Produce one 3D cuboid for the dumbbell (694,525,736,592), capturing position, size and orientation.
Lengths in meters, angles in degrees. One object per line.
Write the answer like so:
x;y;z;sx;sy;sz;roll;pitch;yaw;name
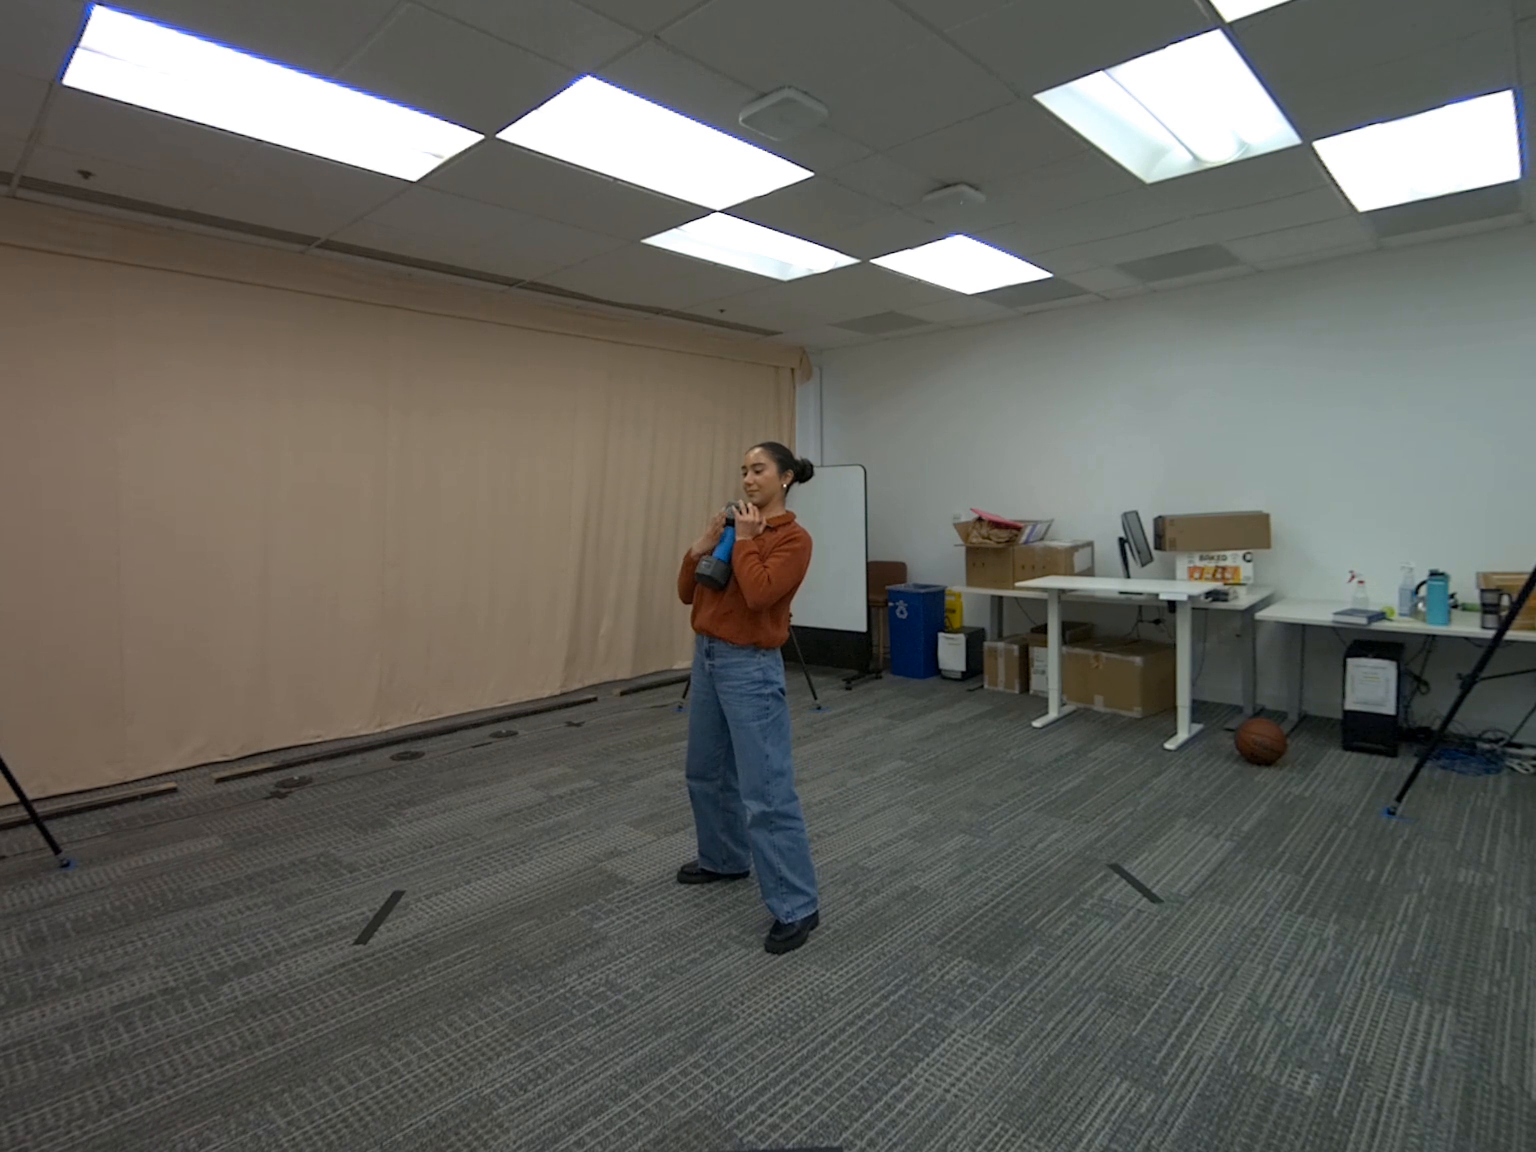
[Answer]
-0.138;-0.097;2.794;0.127;0.294;0.105;11;-25;33;dumbbell
